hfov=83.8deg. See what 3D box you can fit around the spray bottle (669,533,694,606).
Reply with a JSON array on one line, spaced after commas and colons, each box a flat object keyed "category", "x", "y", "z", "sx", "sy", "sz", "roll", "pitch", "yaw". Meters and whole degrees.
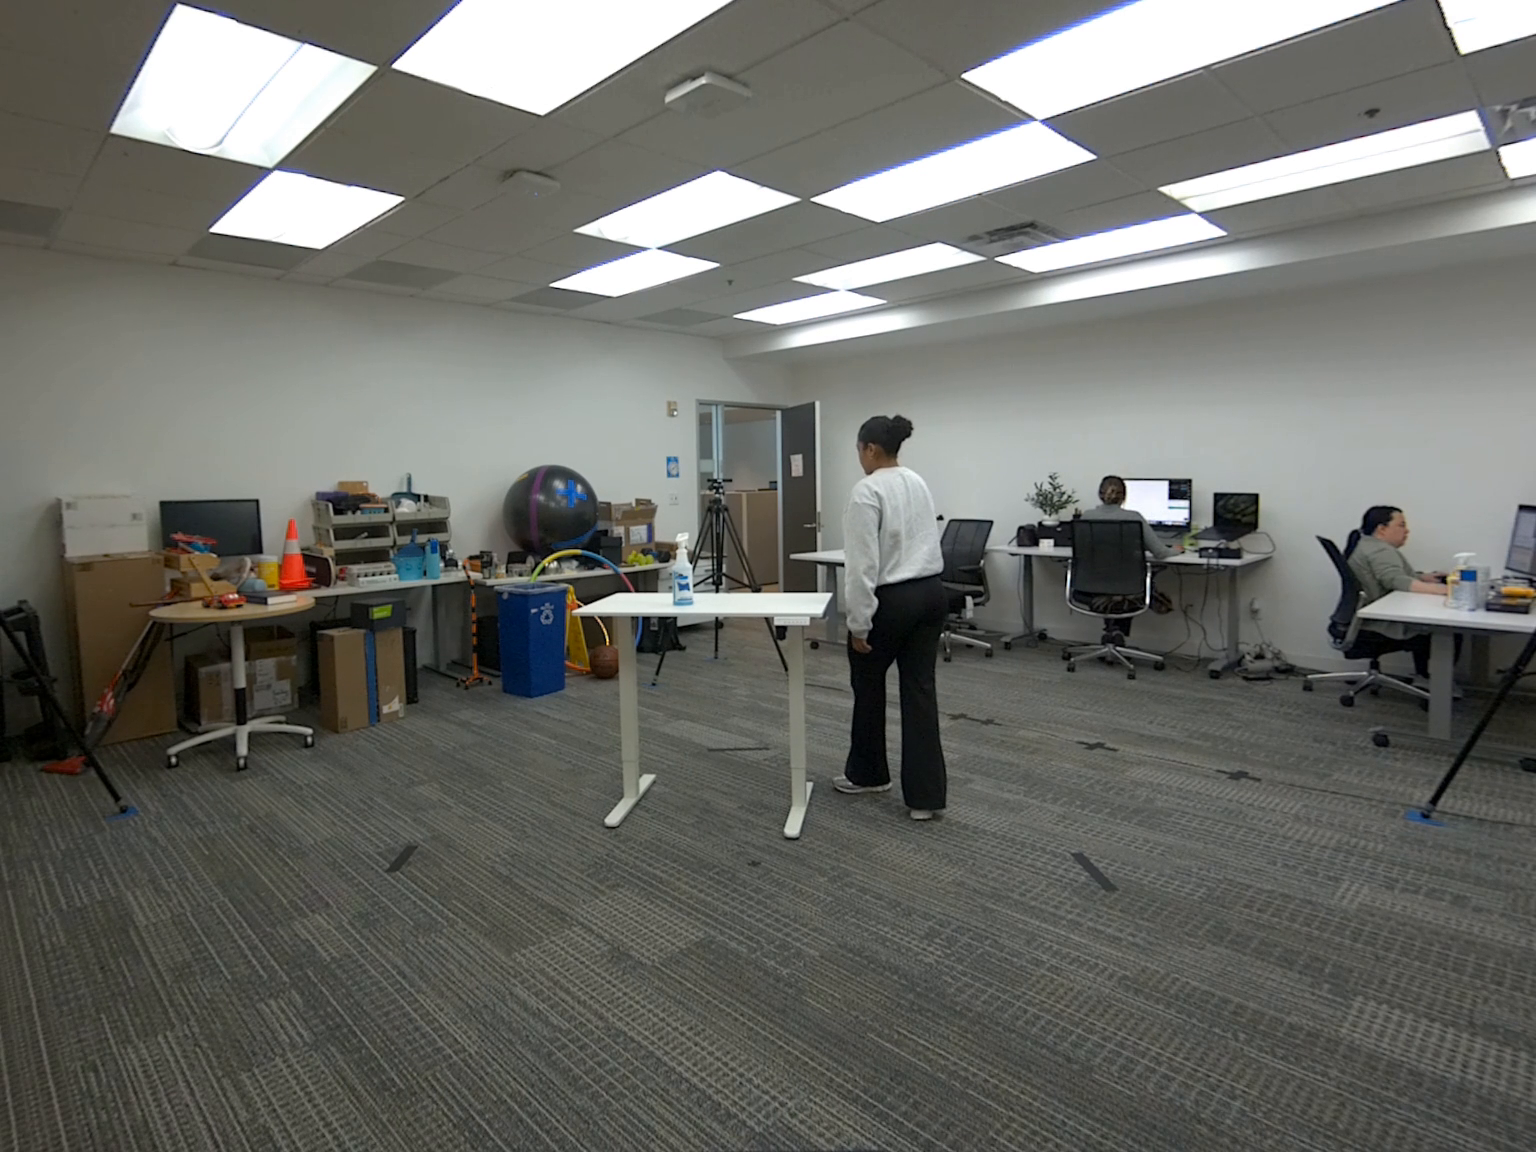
[{"category": "spray bottle", "x": -0.354, "y": -0.030, "z": 3.568, "sx": 0.088, "sy": 0.296, "sz": 0.089, "roll": -3, "pitch": 3, "yaw": -38}]
